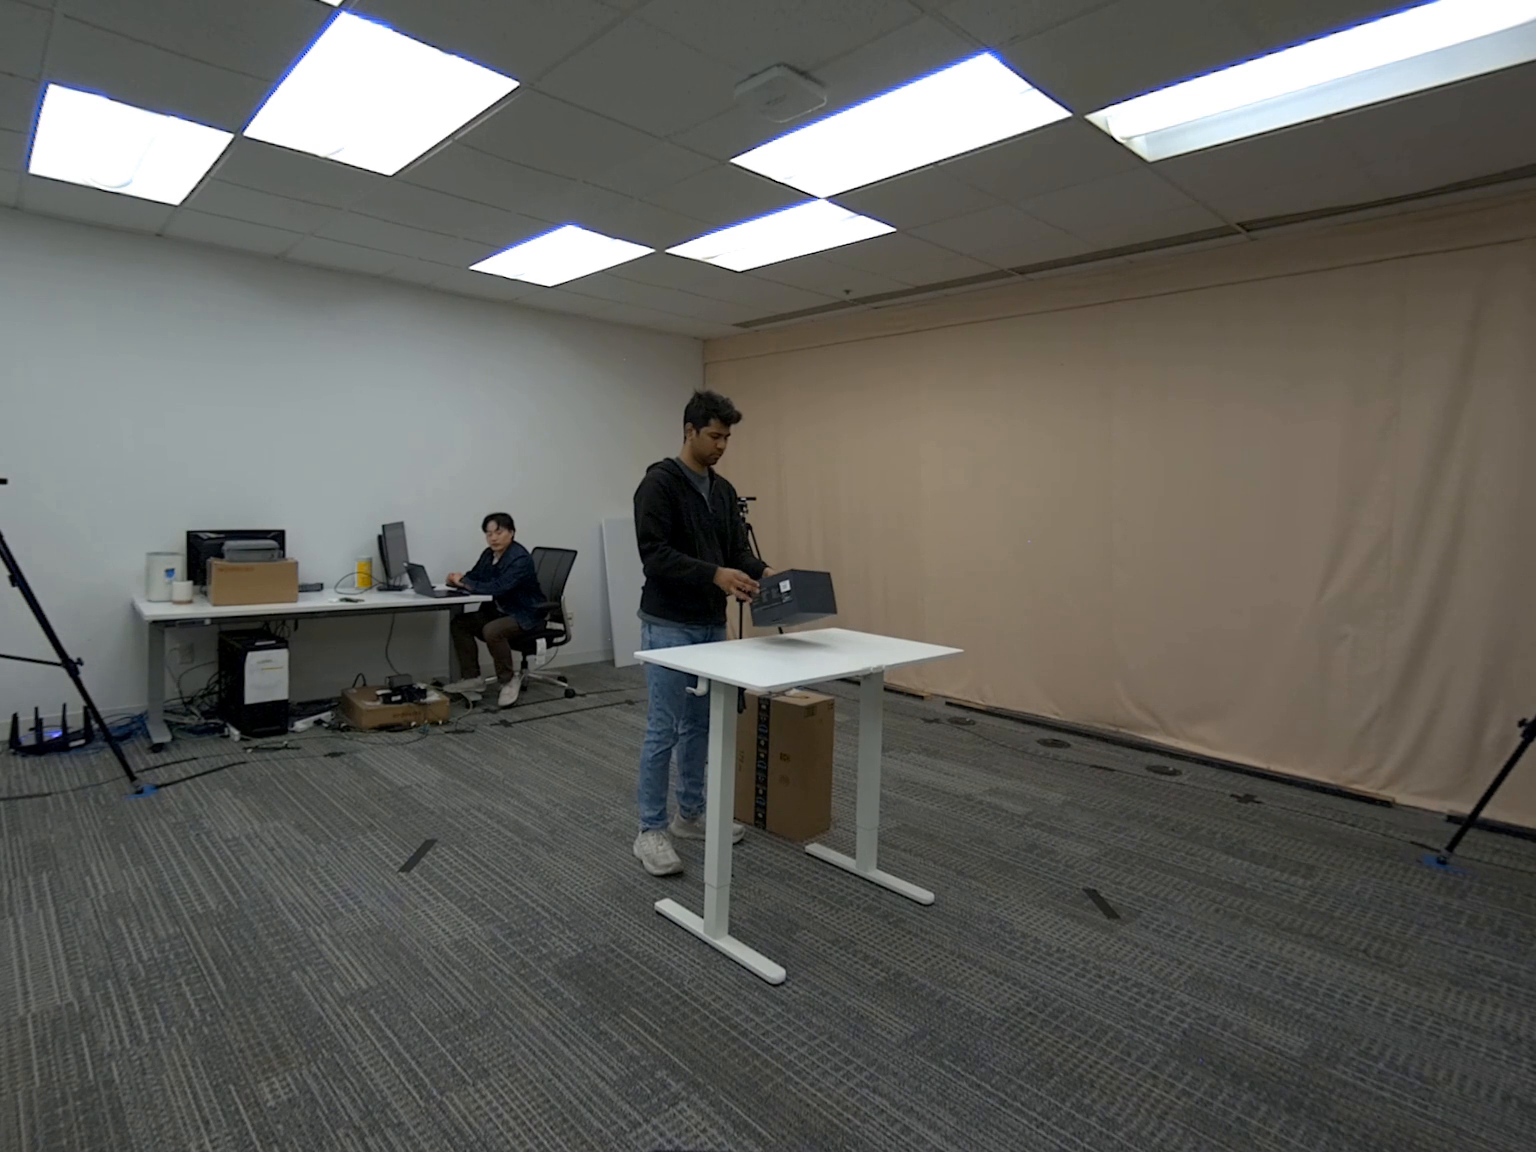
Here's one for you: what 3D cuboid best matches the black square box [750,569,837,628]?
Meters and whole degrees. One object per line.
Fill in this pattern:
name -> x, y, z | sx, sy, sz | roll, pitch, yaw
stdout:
black square box -> 0.081, 0.083, 3.004 | 0.220, 0.157, 0.222 | -18, -14, 36
